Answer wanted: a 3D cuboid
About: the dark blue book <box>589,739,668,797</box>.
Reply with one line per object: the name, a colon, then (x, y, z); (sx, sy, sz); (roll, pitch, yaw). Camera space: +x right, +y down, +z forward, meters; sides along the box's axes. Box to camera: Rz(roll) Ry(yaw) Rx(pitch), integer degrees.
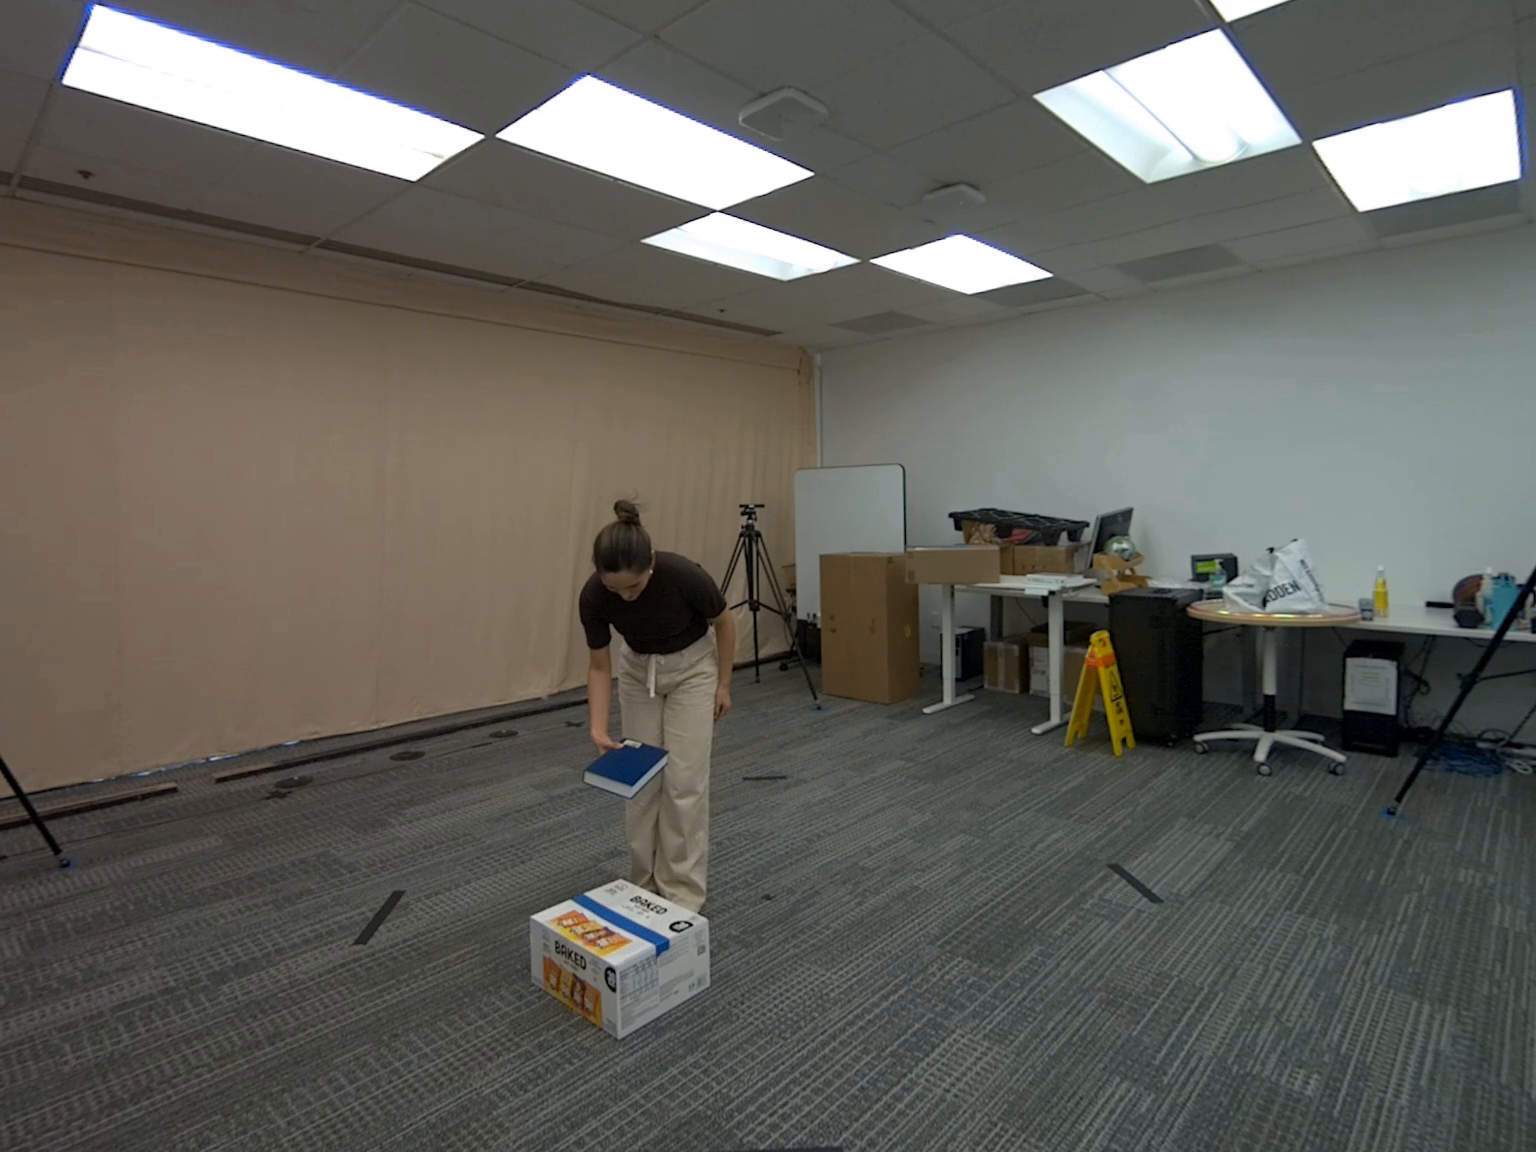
dark blue book: (-0.395, 0.558, 2.502); (0.167, 0.045, 0.241); (9, 14, 19)
